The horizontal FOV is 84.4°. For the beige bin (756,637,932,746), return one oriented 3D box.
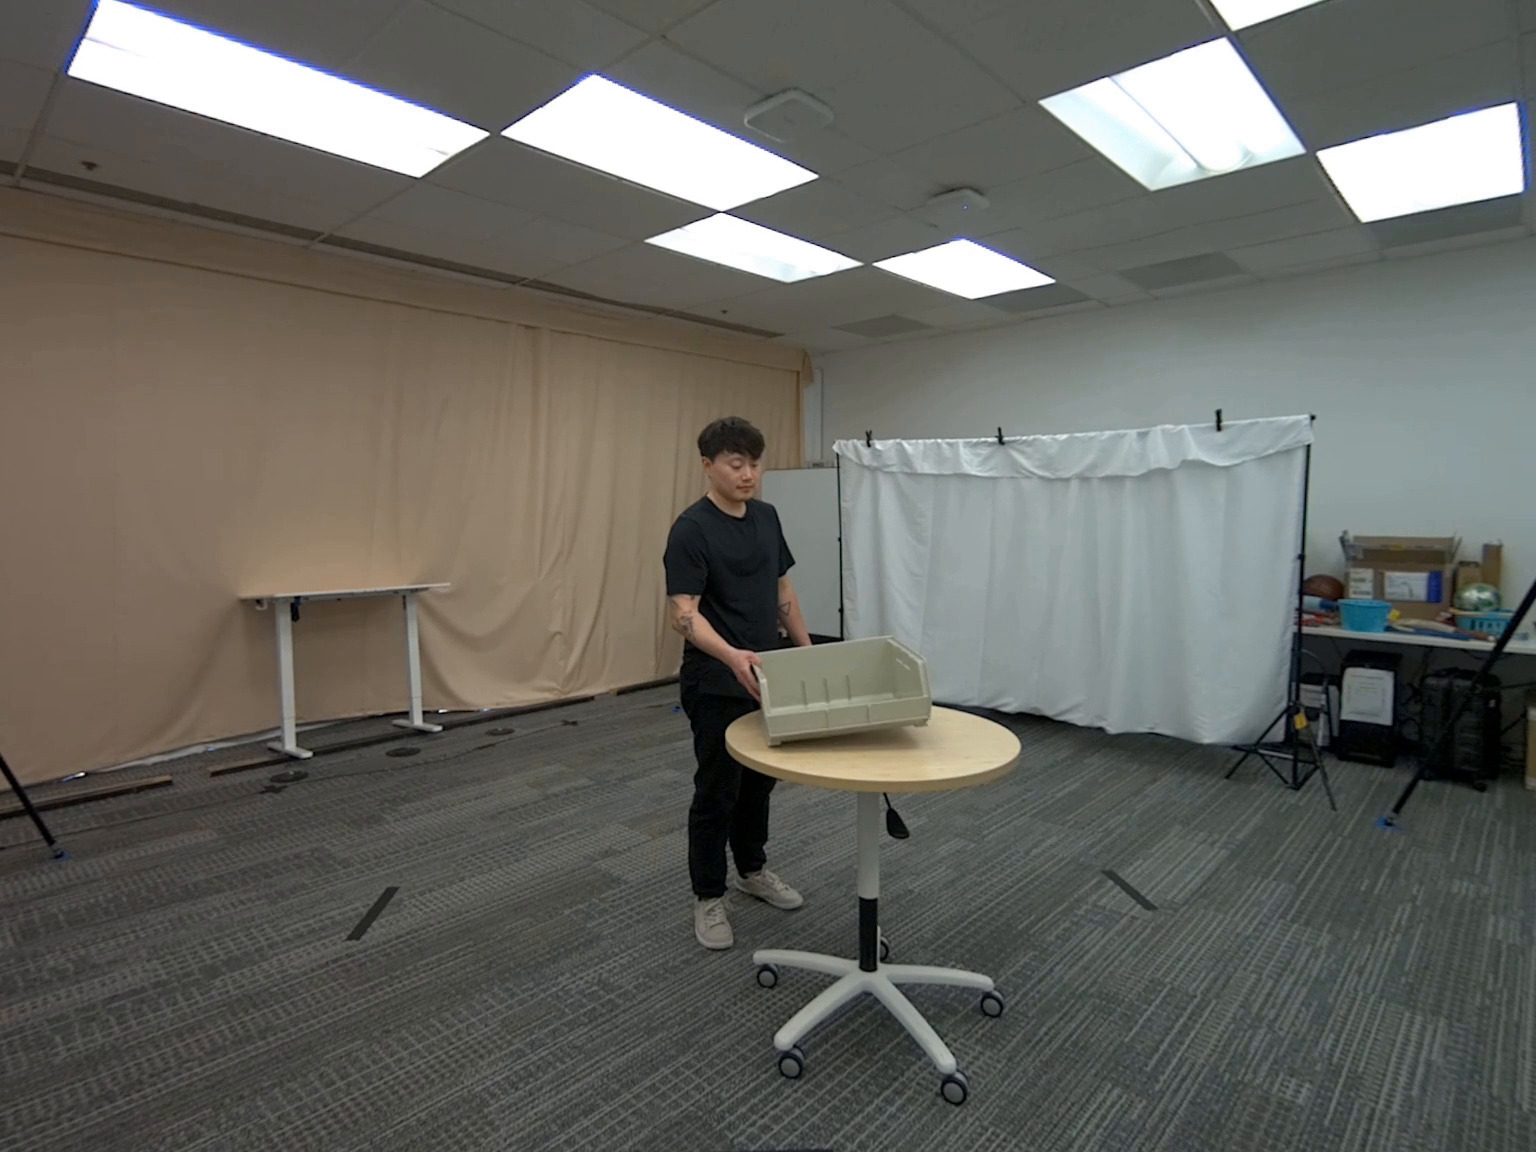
[{"bbox_3d":[0.194,0.306,2.236,0.422,0.188,0.378,-7,3,-2],"label":"beige bin"}]
